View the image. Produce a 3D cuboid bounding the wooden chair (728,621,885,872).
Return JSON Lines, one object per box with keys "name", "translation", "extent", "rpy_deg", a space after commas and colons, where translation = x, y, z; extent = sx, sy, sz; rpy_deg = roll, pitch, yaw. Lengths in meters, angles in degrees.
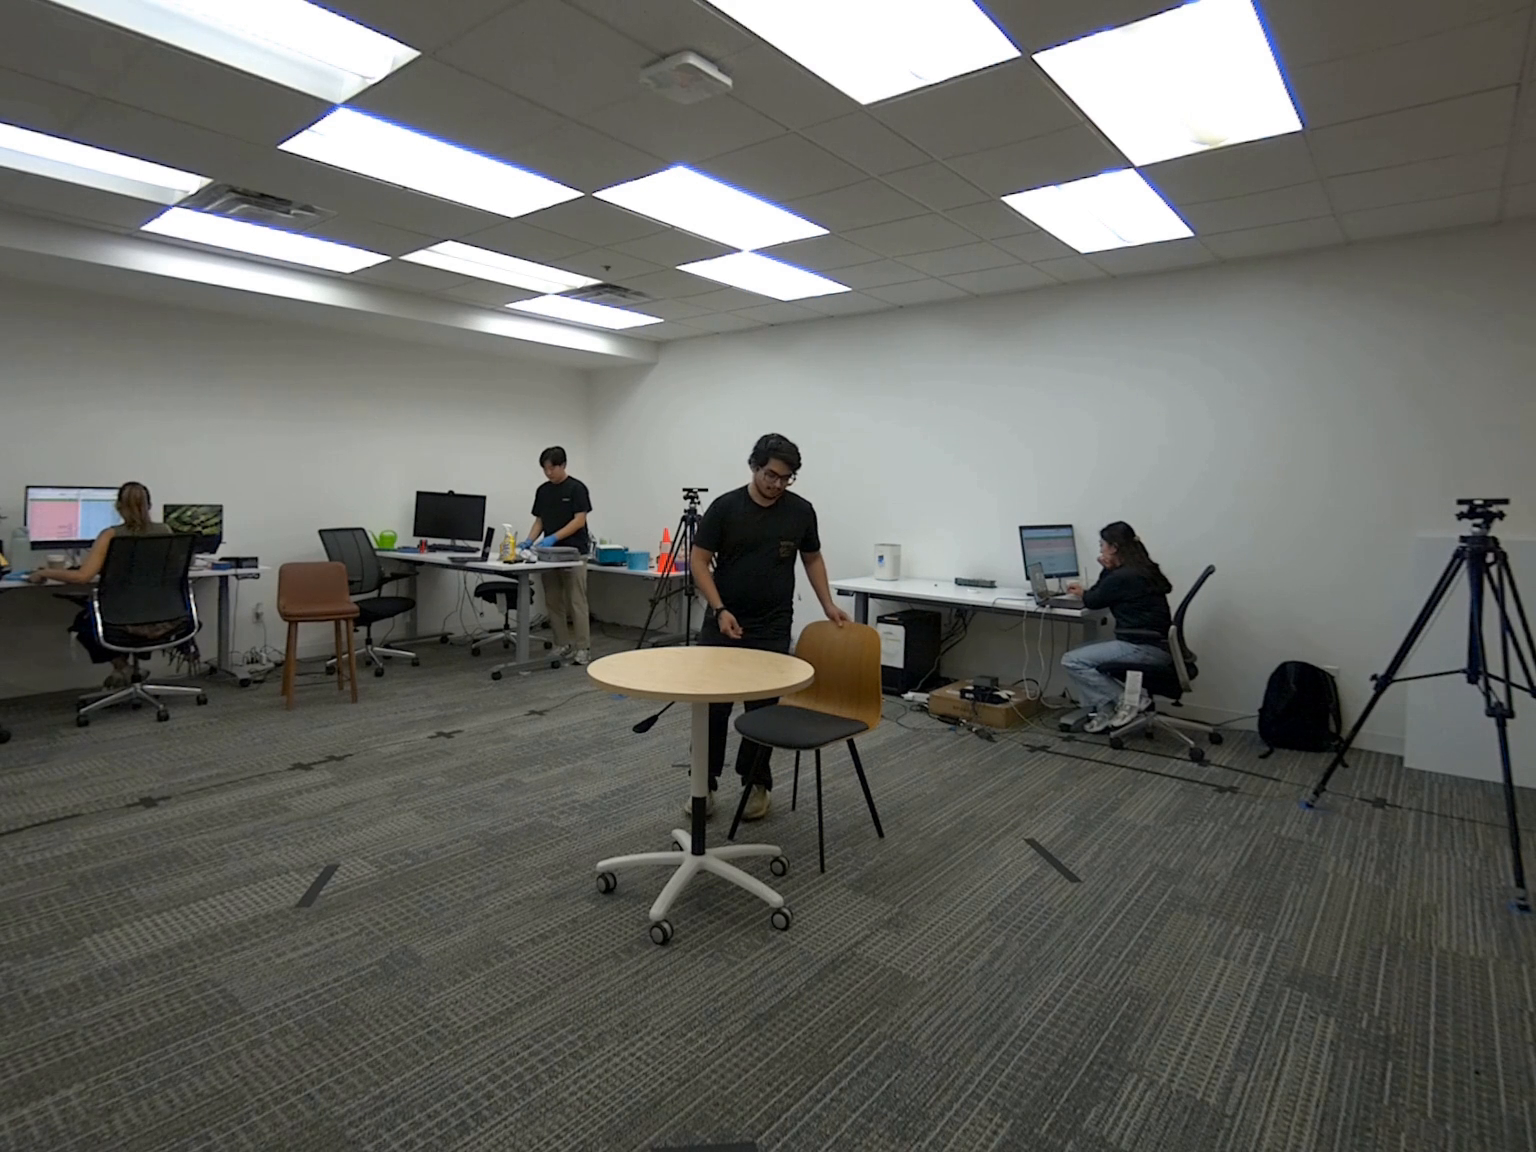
{"name": "wooden chair", "translation": [0.157, 0.620, 3.370], "extent": [0.494, 0.878, 0.506], "rpy_deg": [4, 0, 37]}
